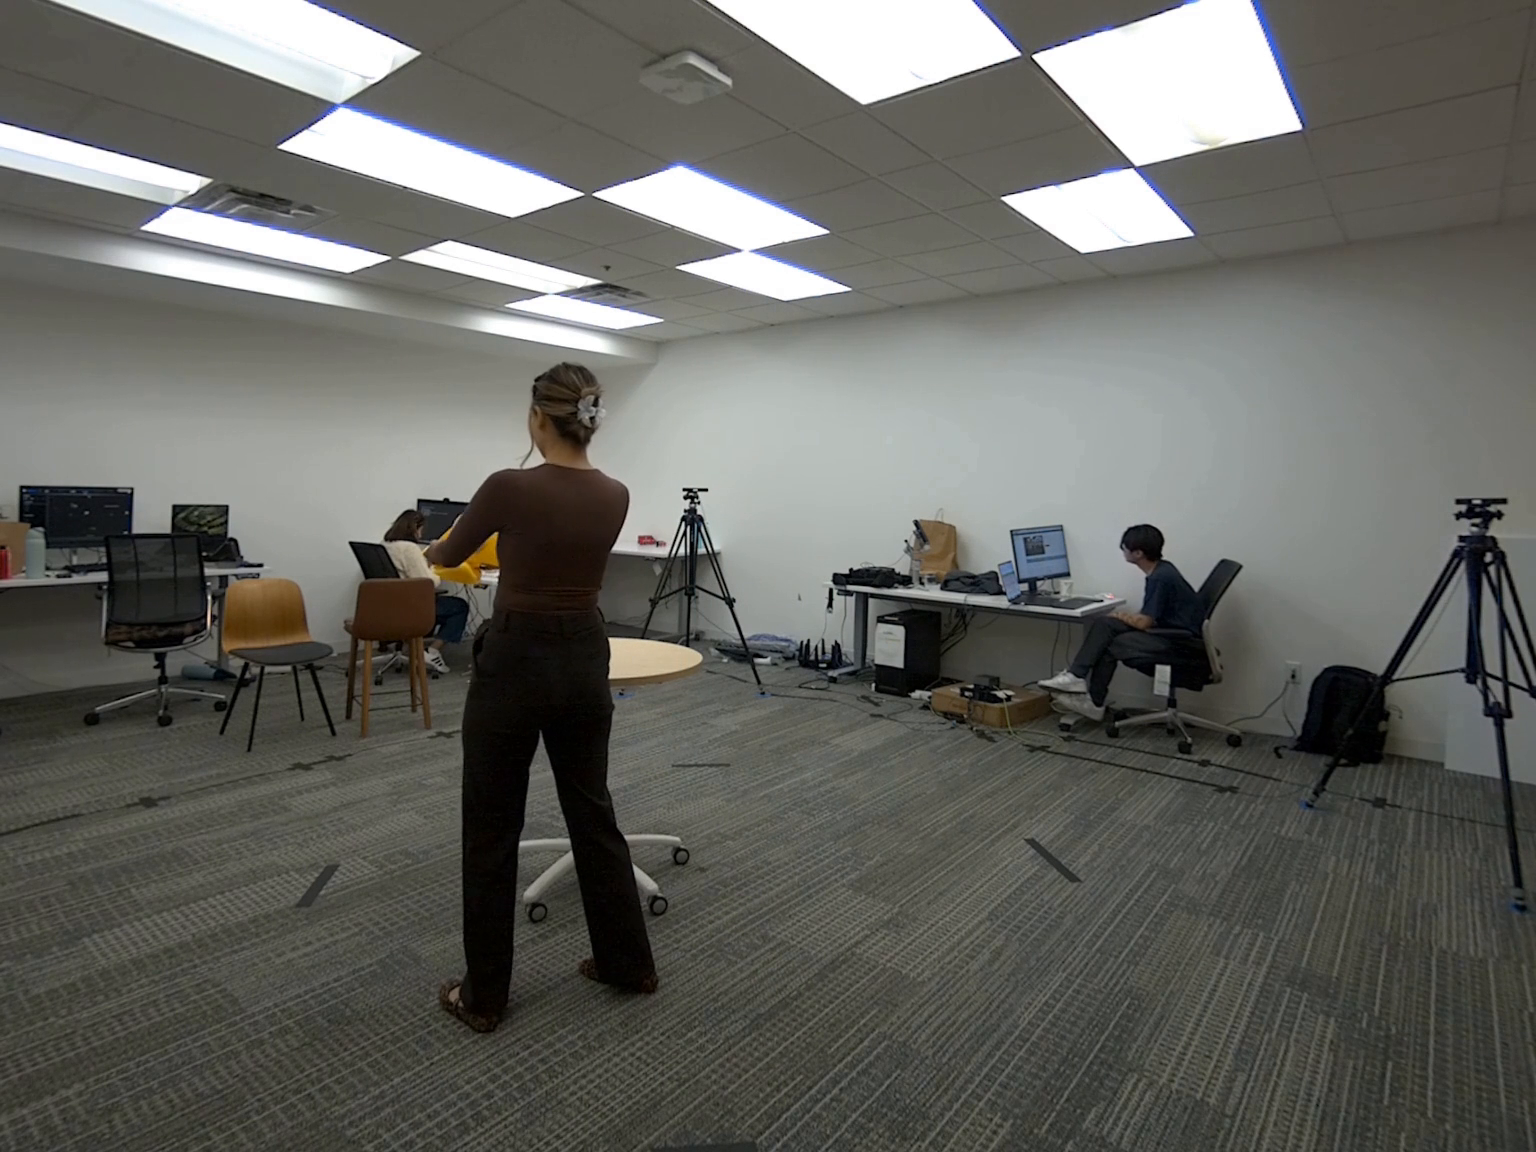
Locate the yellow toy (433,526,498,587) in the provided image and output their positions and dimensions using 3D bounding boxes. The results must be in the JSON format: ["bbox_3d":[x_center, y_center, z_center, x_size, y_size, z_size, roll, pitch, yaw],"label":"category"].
[{"bbox_3d":[-0.940,-0.124,2.616,0.186,0.229,0.214,11,21,-42],"label":"yellow toy"}]
